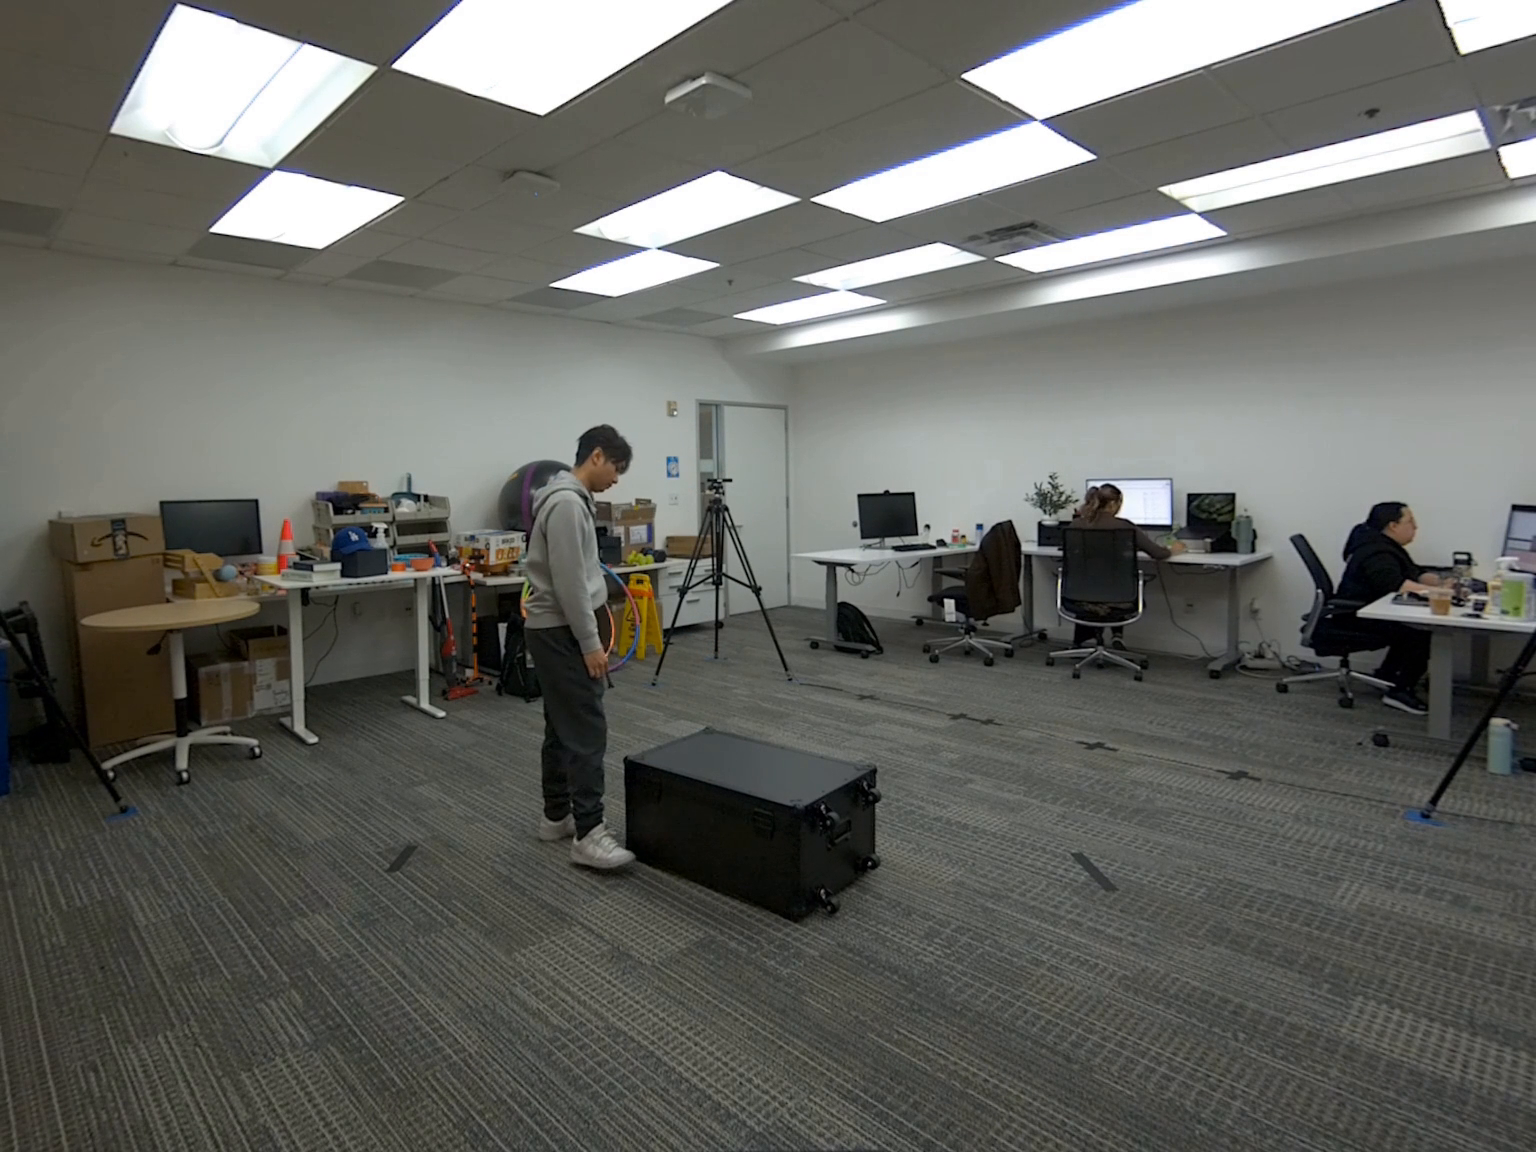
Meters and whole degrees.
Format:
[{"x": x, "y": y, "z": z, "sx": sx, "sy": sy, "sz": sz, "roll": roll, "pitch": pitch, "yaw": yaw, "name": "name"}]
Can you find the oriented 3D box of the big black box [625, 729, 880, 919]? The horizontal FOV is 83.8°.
[{"x": -0.046, "y": 0.861, "z": 3.064, "sx": 0.887, "sy": 0.395, "sz": 0.508, "roll": 3, "pitch": 7, "yaw": 38, "name": "big black box"}]
